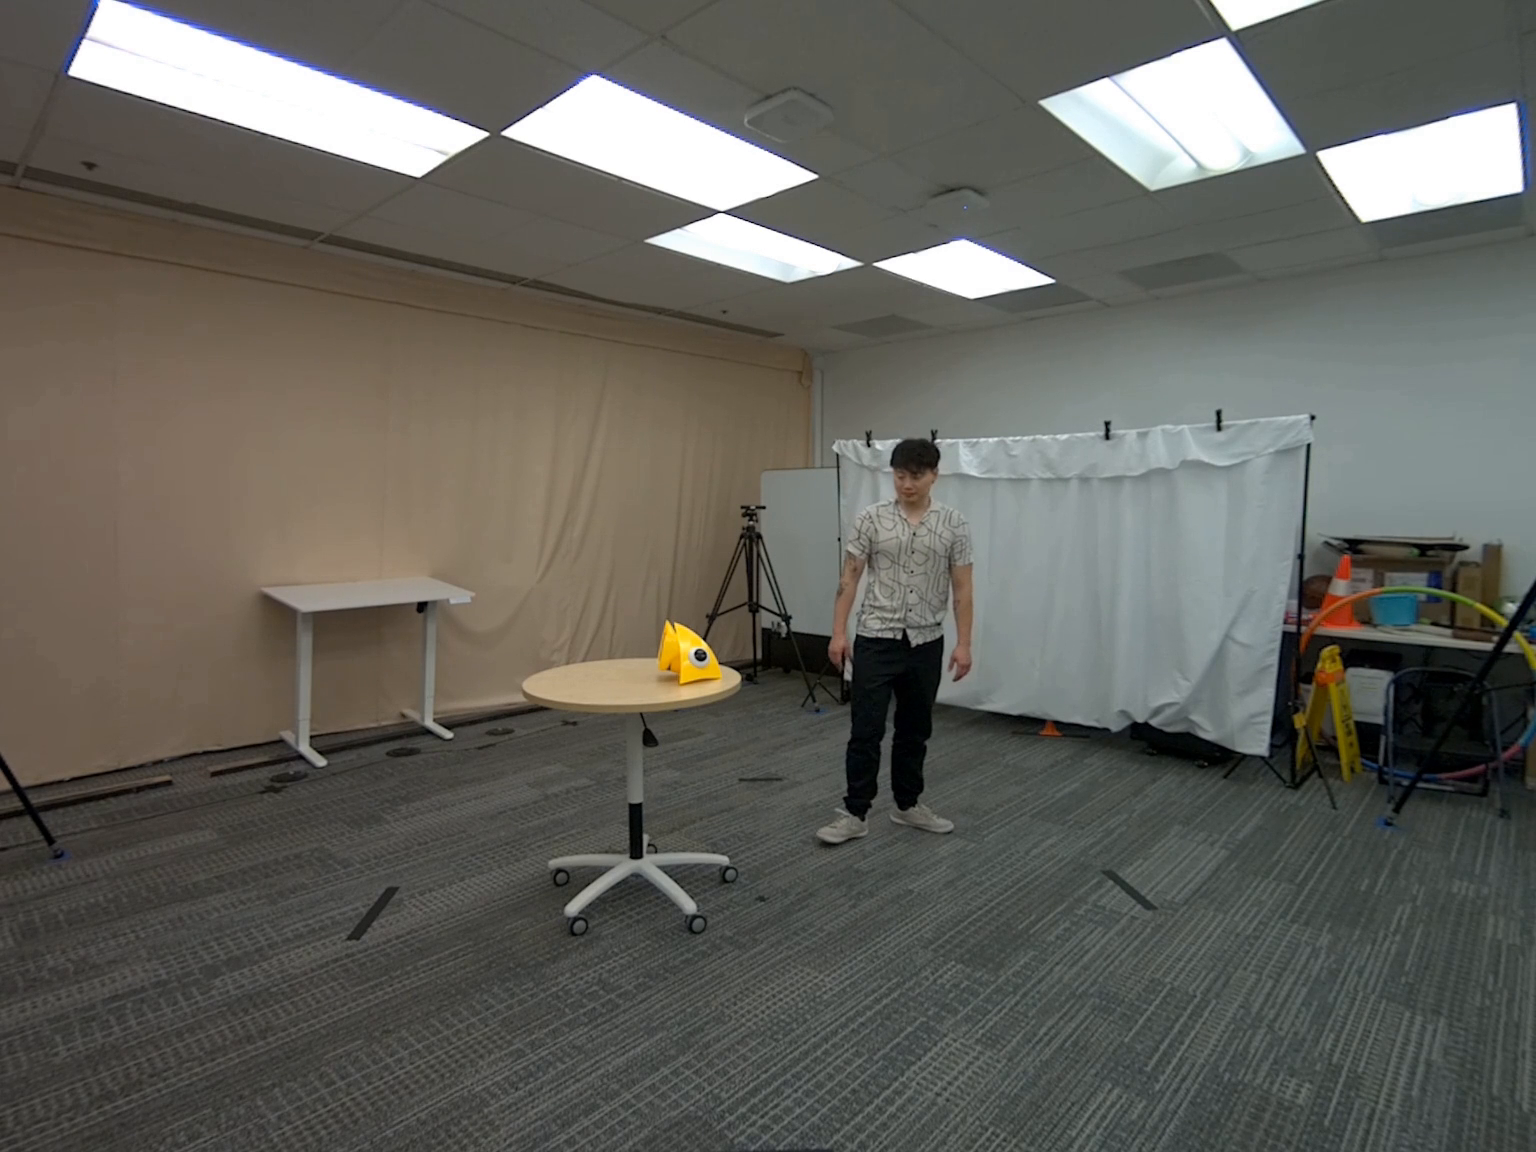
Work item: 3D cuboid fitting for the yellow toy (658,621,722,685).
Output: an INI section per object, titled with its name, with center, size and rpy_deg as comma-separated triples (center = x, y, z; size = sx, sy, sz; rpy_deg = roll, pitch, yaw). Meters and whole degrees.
[yellow toy]
center = -0.255, 0.274, 2.949
size = 0.229, 0.193, 0.207
rpy_deg = 11, 2, -8
